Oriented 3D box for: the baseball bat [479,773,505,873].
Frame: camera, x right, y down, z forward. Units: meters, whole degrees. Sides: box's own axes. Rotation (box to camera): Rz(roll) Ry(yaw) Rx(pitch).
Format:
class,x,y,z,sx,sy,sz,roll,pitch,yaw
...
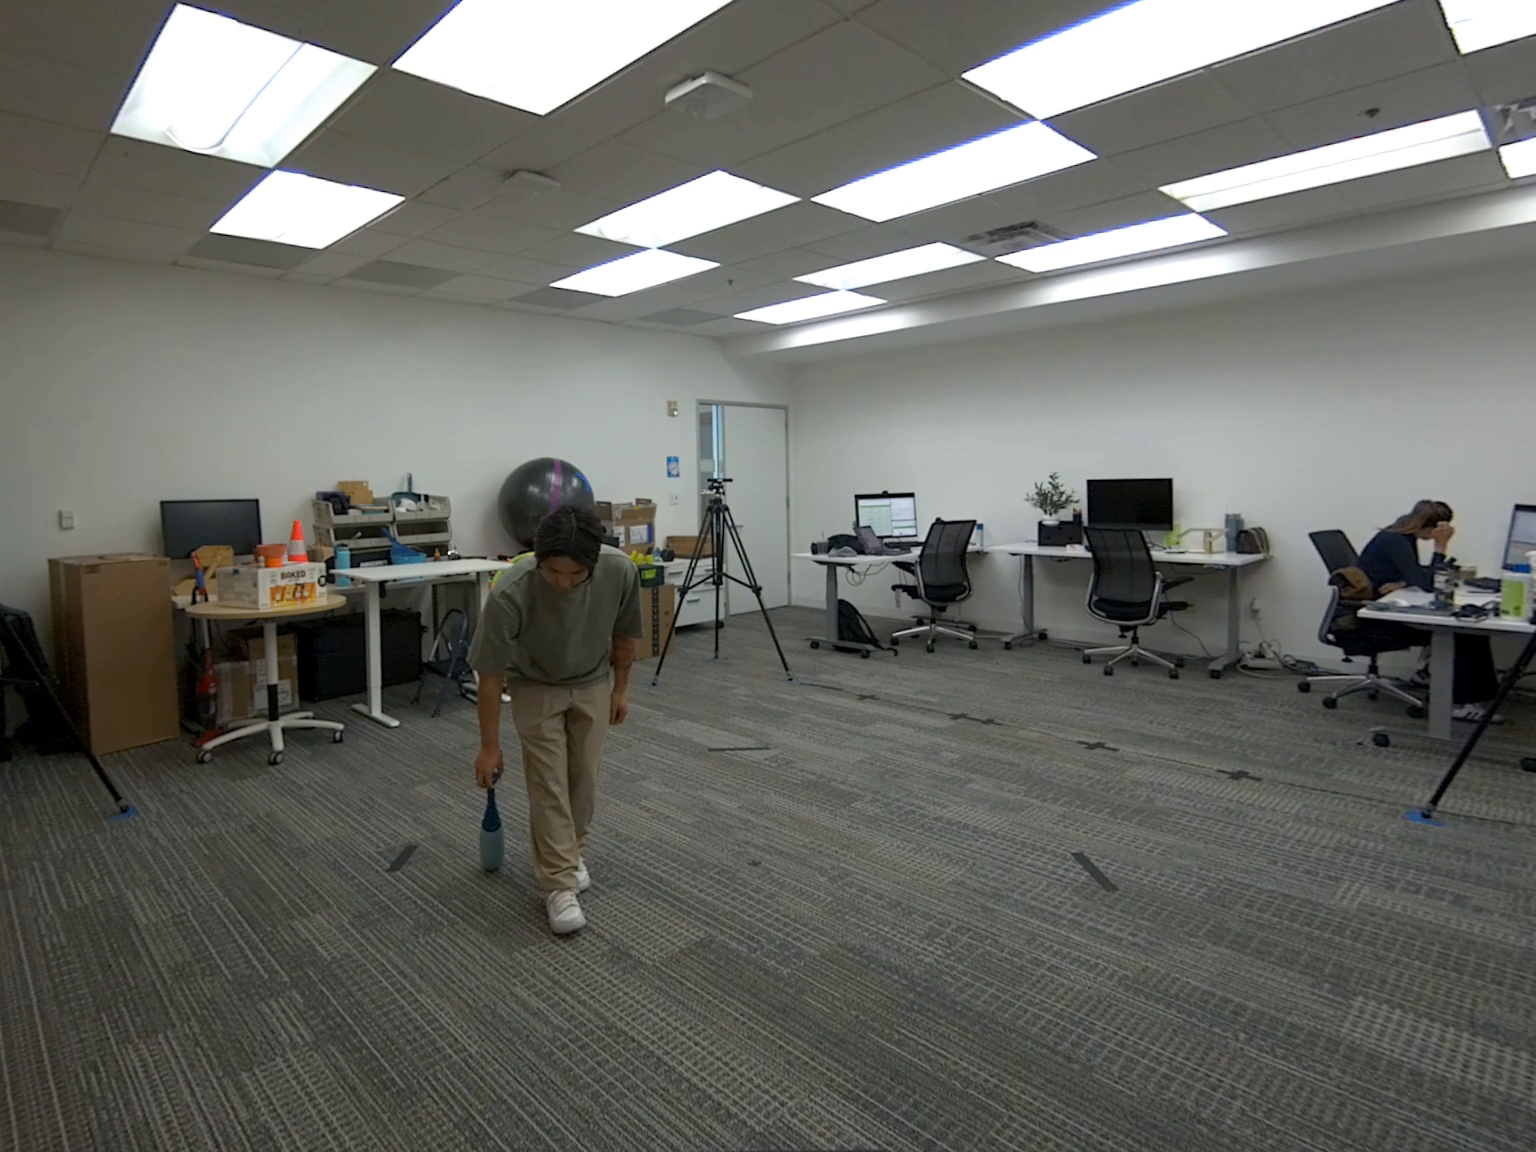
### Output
class,x,y,z,sx,sy,sz,roll,pitch,yaw
baseball bat,-0.952,0.849,2.957,0.088,0.532,0.091,8,41,-8
